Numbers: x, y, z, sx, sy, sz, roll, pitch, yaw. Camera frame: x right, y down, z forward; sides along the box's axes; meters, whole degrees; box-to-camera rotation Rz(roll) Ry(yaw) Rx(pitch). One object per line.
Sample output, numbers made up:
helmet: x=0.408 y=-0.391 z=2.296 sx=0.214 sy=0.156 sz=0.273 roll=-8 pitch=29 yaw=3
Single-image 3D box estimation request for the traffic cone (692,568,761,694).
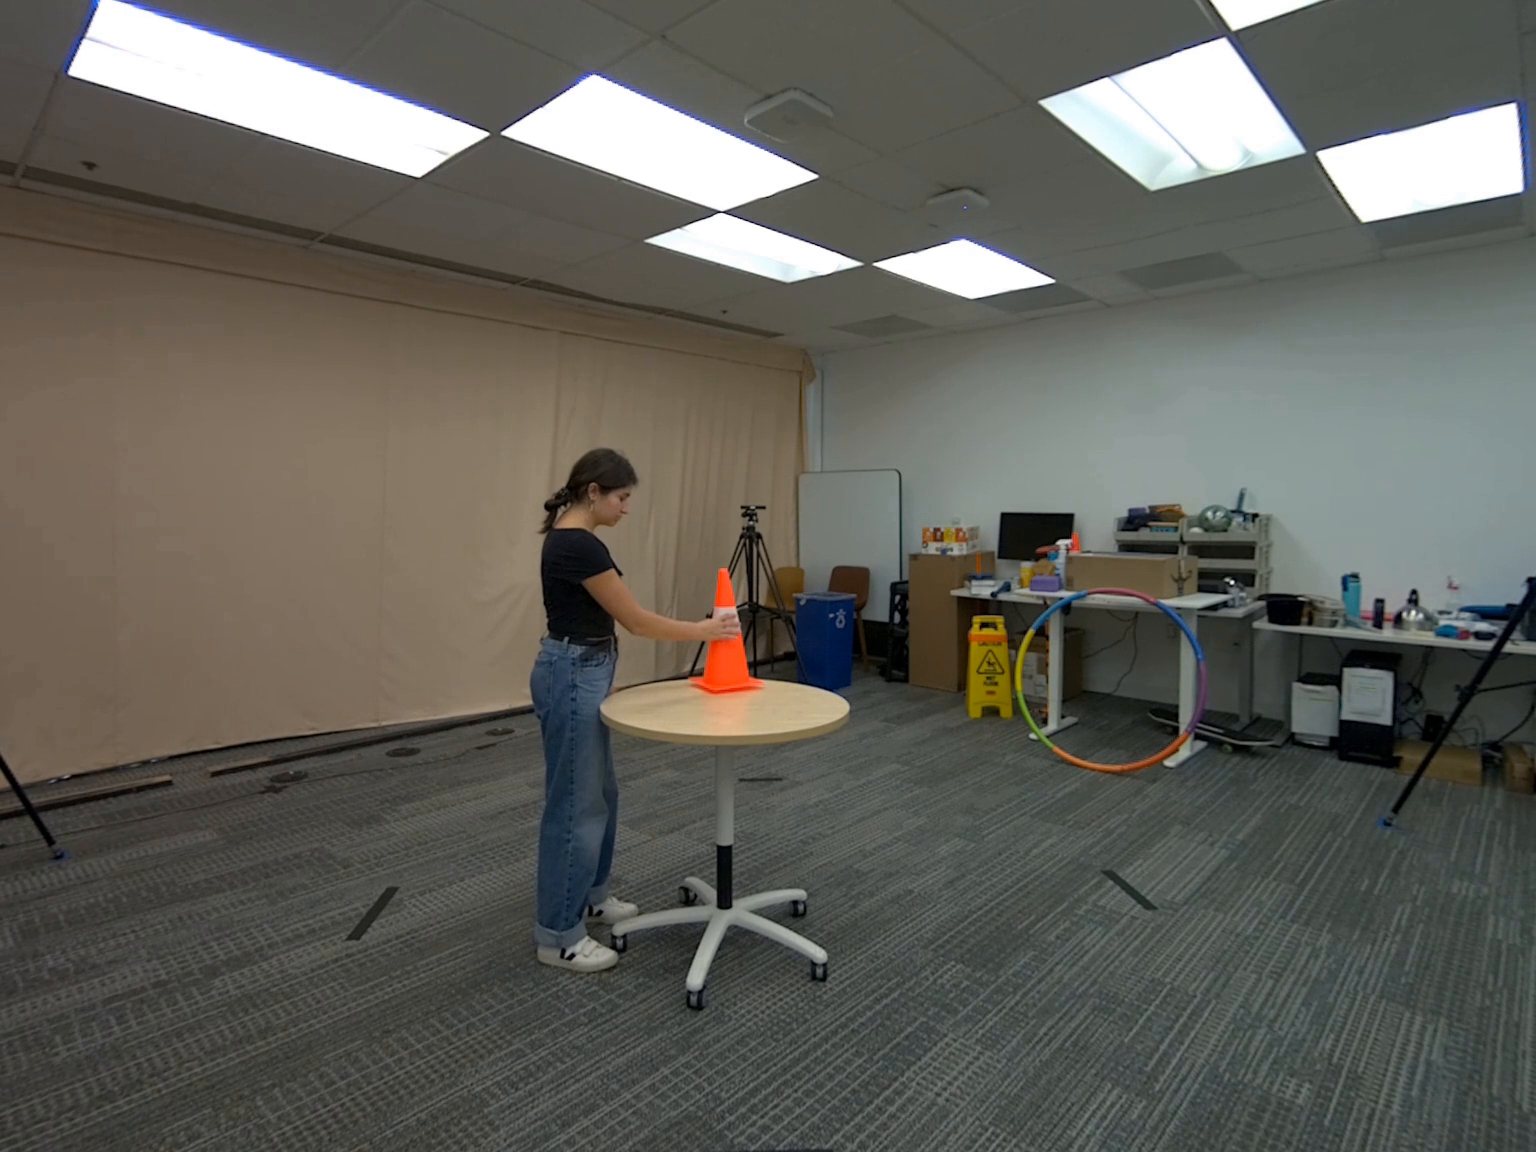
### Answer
traffic cone: x=-0.142 y=0.174 z=2.820 sx=0.199 sy=0.383 sz=0.209 roll=-3 pitch=3 yaw=-30
